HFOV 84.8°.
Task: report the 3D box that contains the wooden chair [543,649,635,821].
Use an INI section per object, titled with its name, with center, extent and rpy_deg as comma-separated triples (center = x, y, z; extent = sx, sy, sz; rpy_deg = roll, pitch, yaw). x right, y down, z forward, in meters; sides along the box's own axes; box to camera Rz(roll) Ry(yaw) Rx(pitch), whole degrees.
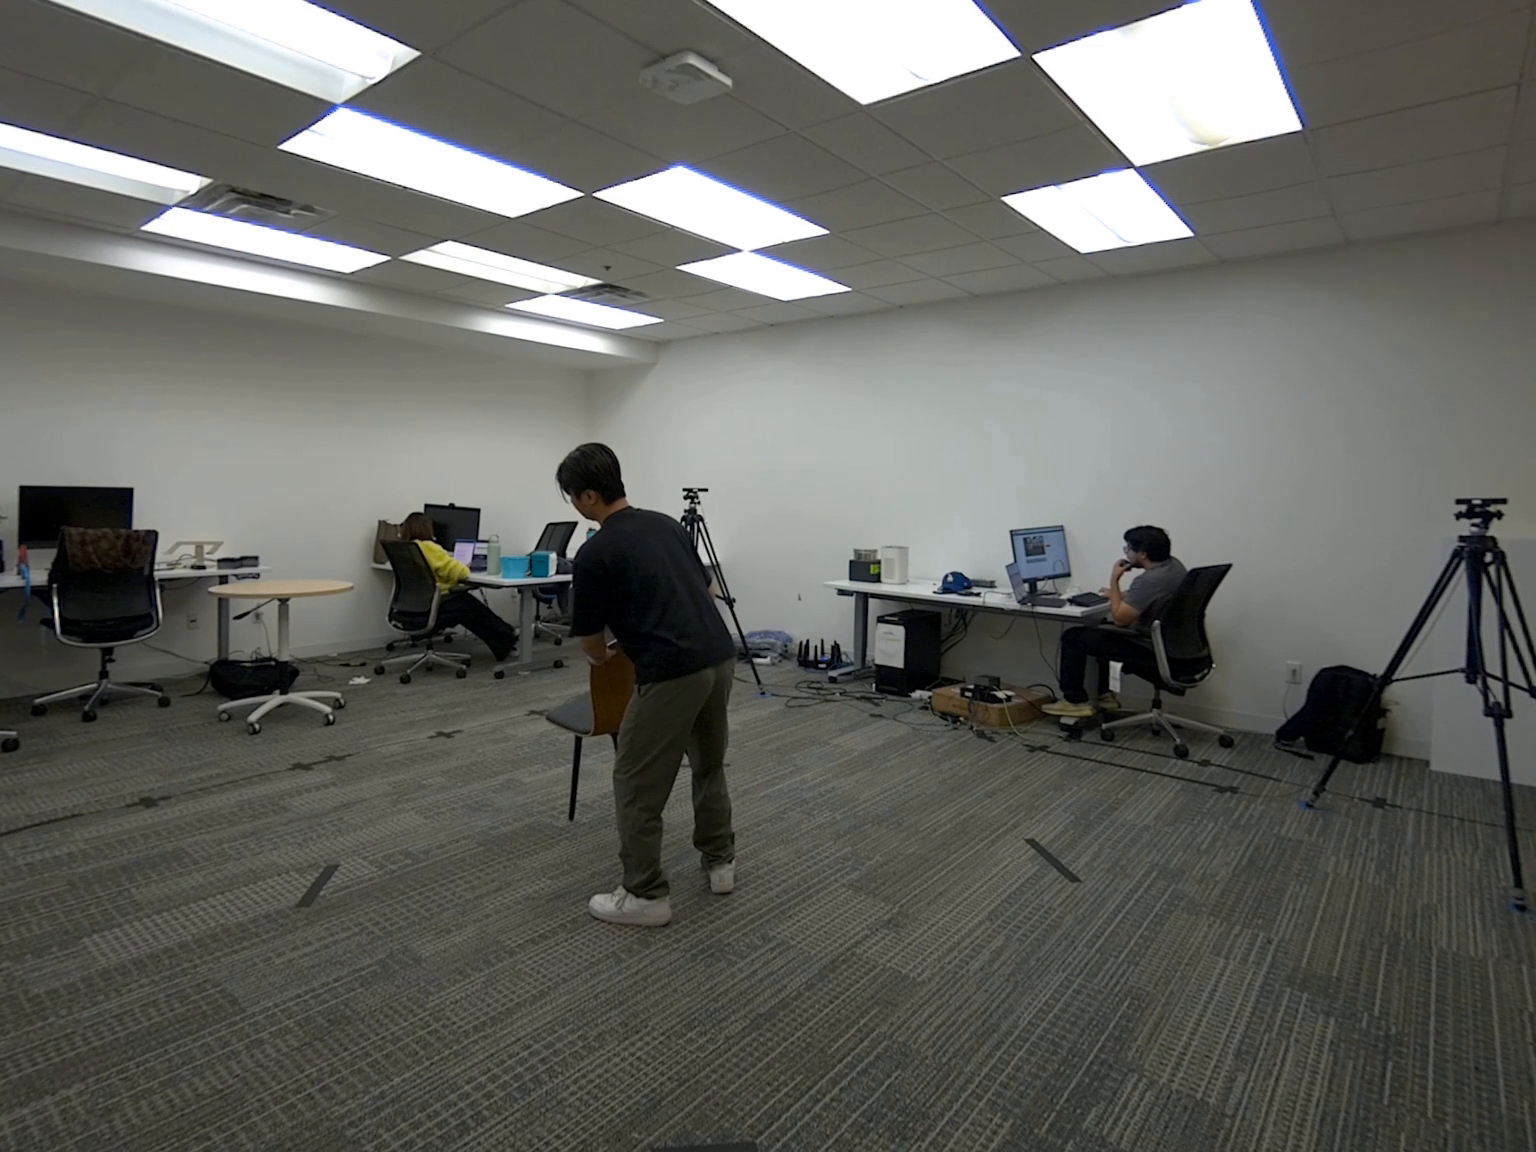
[wooden chair]
center = -0.614, 0.560, 3.430
extent = 0.542, 0.860, 0.470
rpy_deg = 11, 26, 42
